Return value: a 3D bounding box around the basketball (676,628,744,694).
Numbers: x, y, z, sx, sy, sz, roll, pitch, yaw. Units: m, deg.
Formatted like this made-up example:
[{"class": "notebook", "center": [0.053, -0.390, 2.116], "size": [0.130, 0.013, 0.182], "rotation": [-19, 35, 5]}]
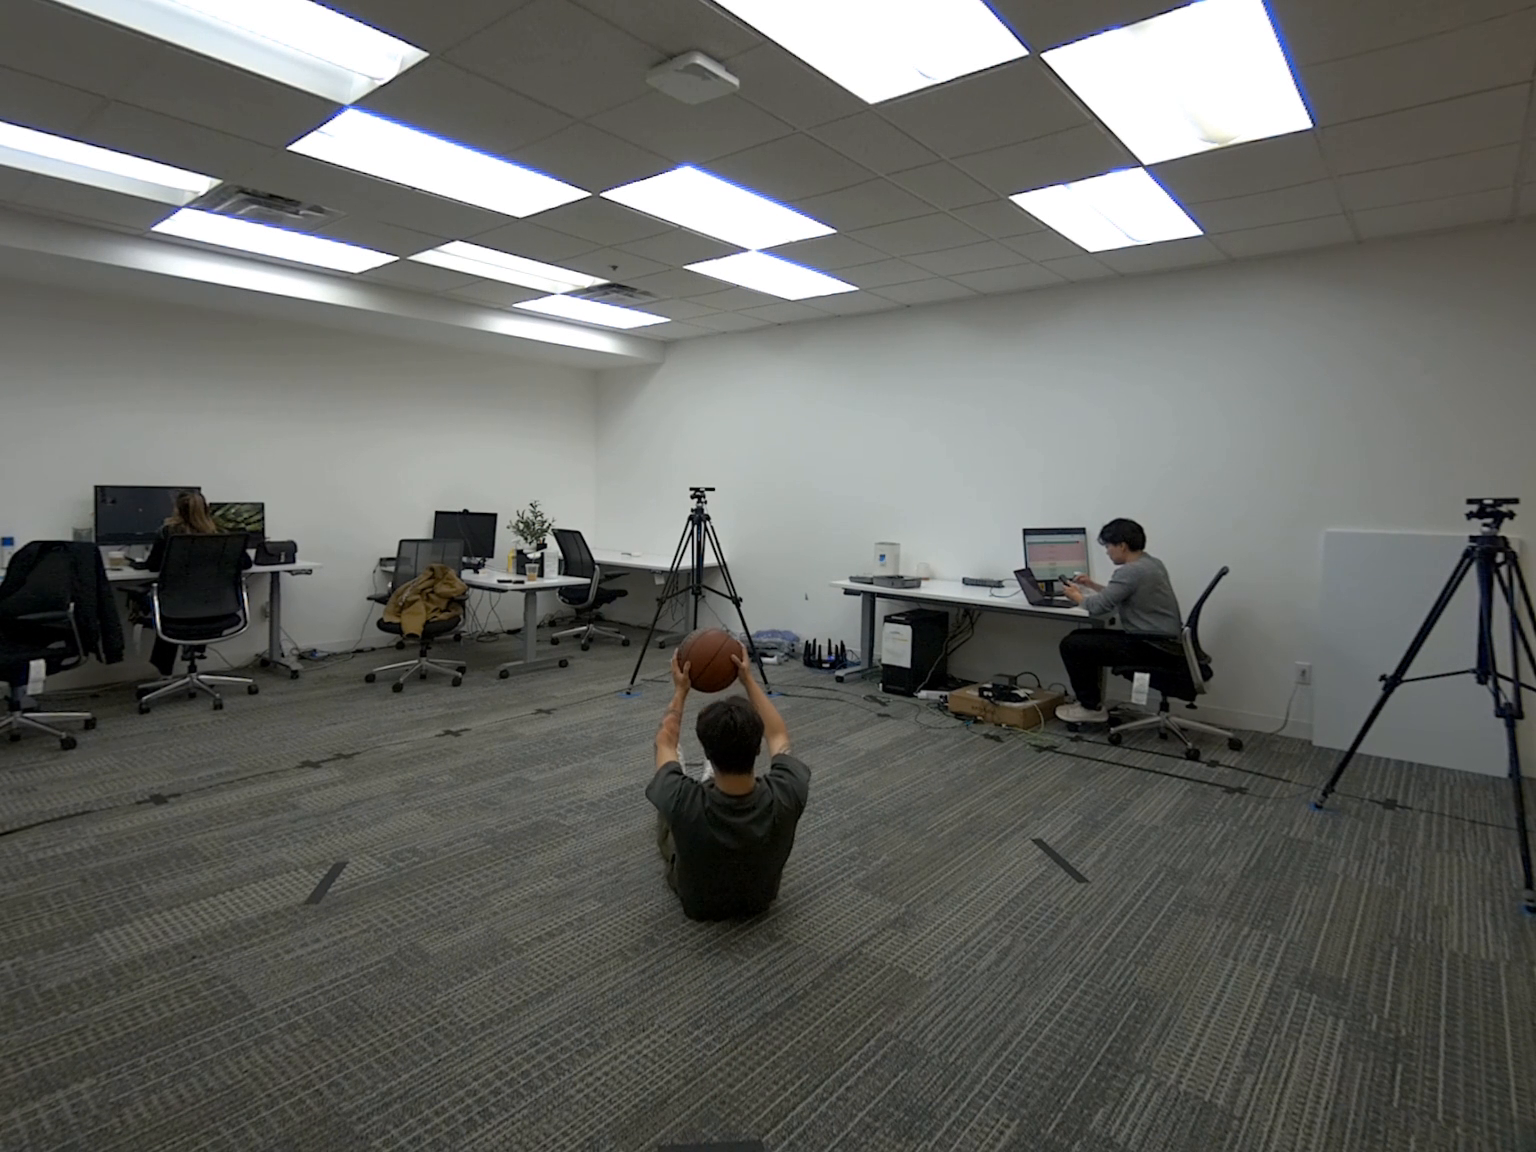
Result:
[{"class": "basketball", "center": [-0.219, 0.309, 3.114], "size": [0.235, 0.235, 0.237], "rotation": [1, 4, -2]}]
